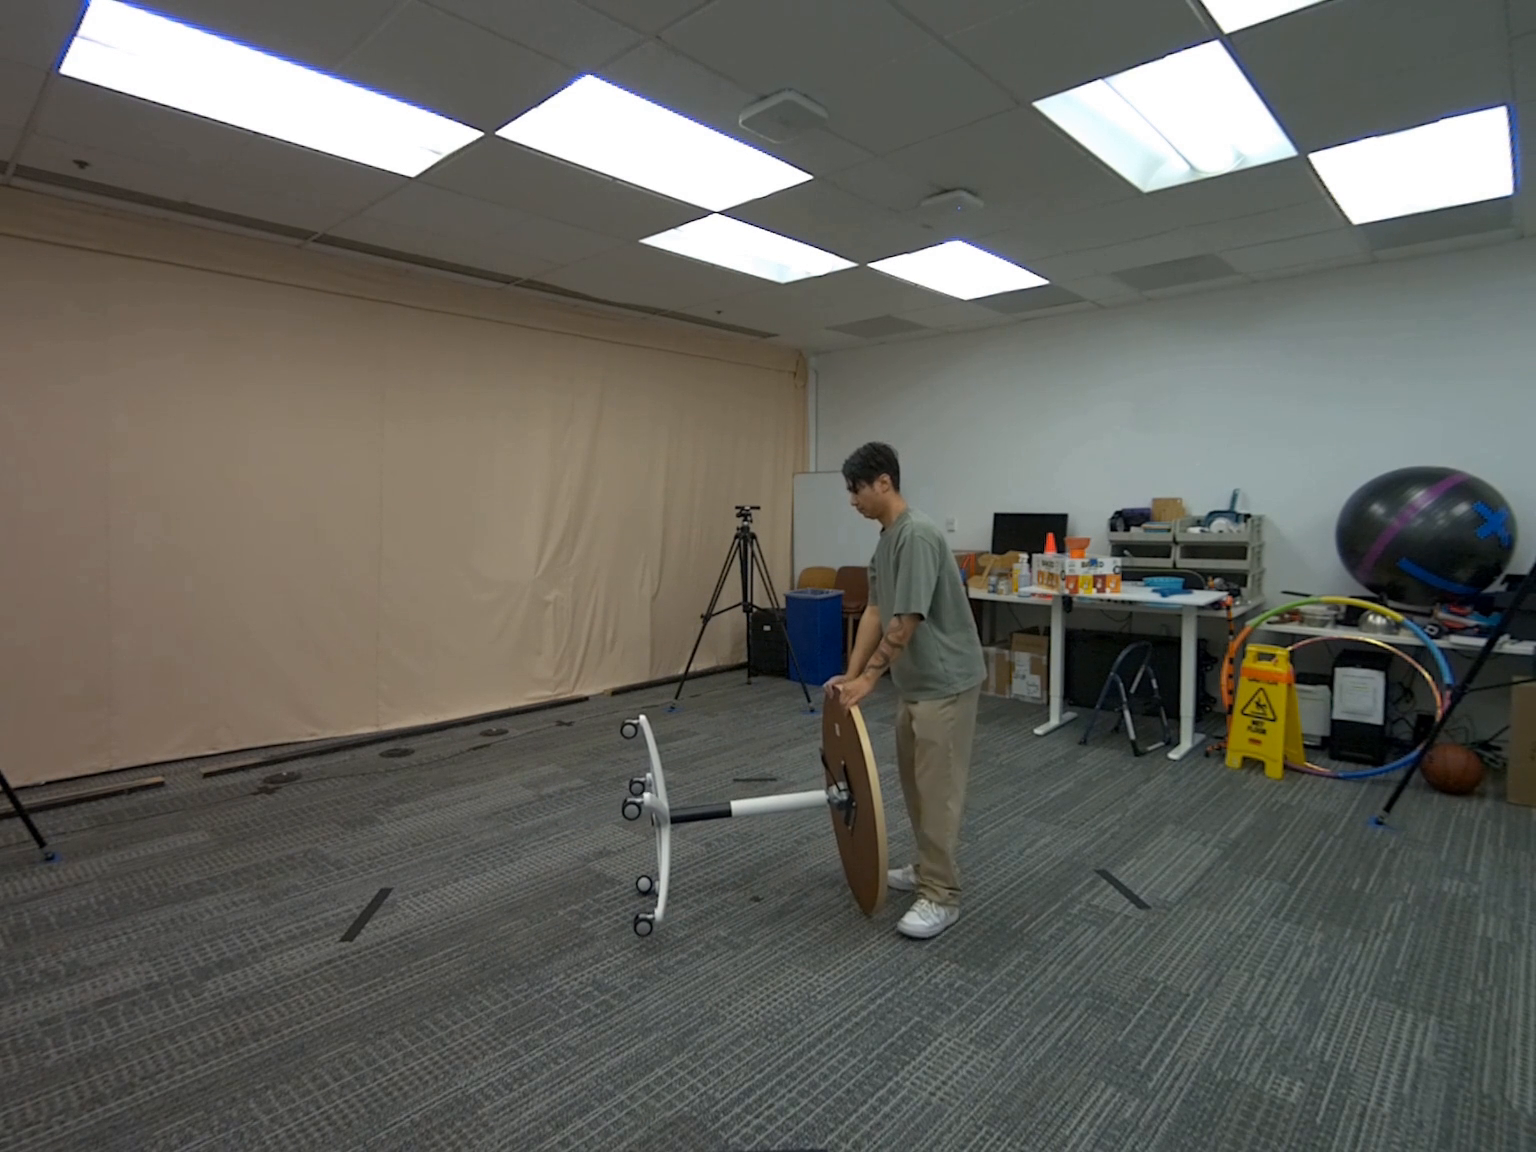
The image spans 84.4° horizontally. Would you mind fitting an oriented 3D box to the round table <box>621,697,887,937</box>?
[{"bbox_3d":[-0.083,0.796,2.899,0.781,0.783,0.793,-5,4,-8],"label":"round table"}]
